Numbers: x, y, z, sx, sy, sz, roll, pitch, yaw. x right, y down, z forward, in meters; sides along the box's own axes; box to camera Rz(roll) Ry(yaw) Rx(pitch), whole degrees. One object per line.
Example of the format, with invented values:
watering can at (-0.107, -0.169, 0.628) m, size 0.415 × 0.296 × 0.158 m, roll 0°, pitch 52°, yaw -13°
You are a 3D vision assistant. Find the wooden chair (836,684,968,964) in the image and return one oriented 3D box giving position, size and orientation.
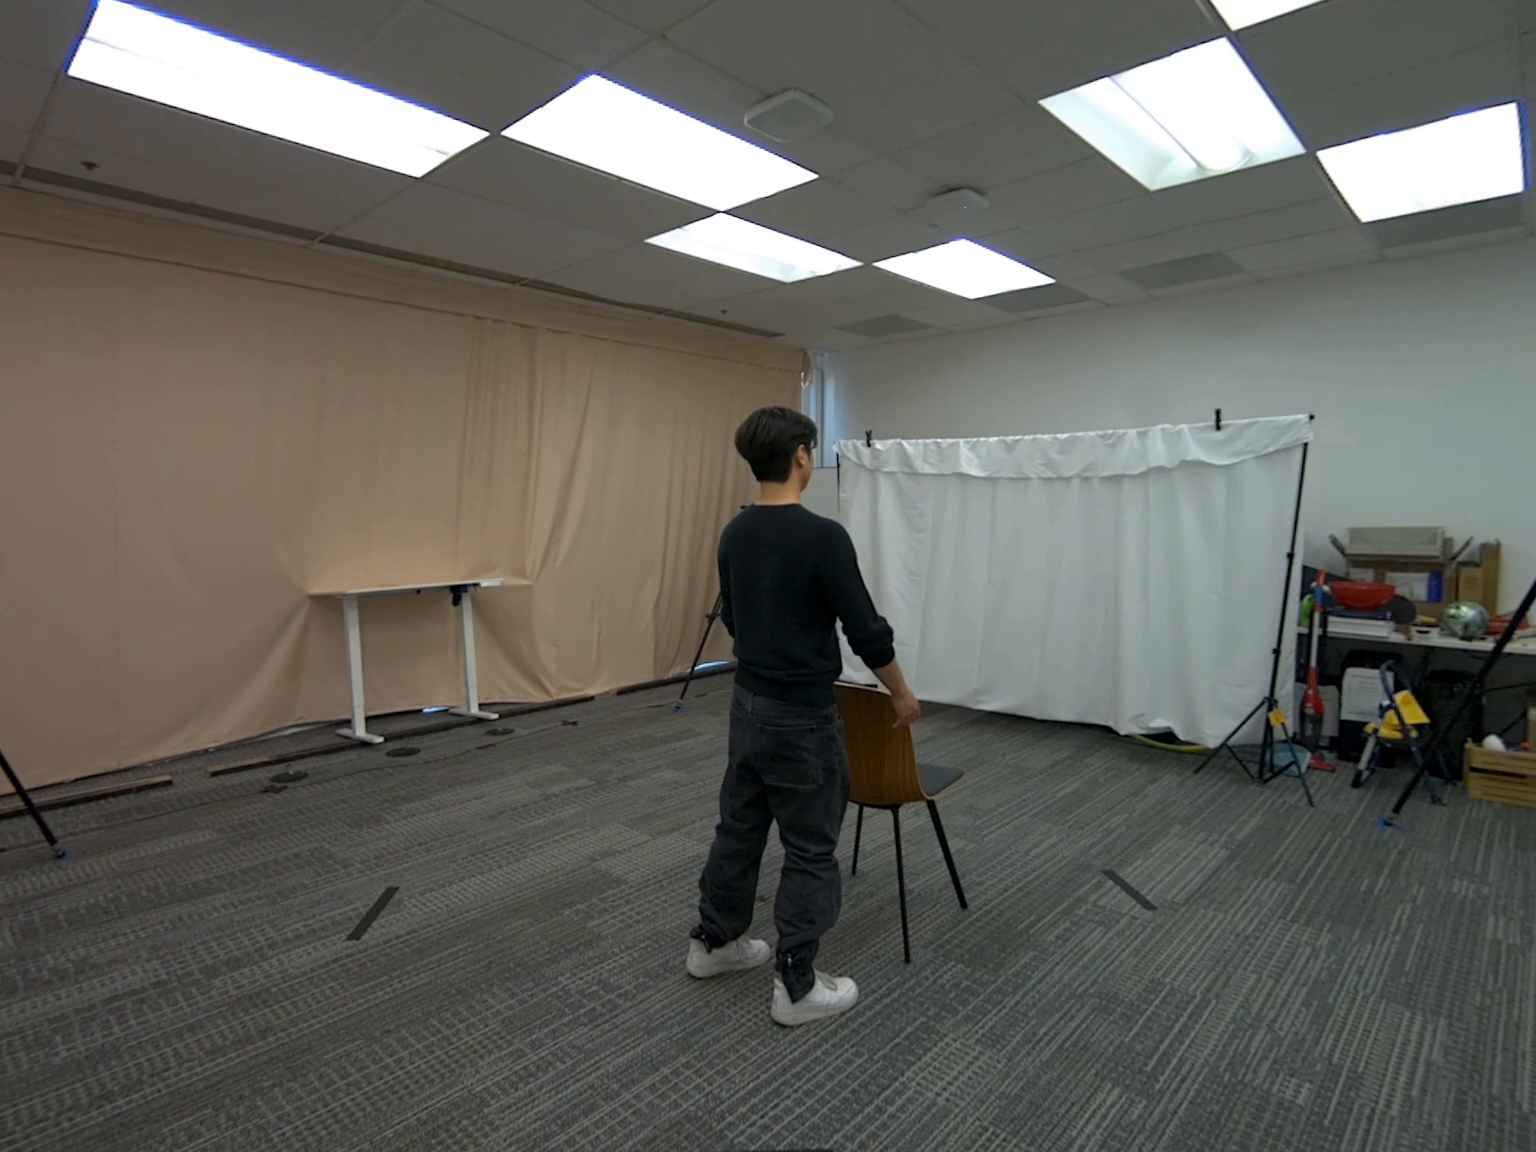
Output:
wooden chair at (0.378, 0.723, 2.845) m, size 0.493 × 0.873 × 0.509 m, roll 2°, pitch 8°, yaw 37°
